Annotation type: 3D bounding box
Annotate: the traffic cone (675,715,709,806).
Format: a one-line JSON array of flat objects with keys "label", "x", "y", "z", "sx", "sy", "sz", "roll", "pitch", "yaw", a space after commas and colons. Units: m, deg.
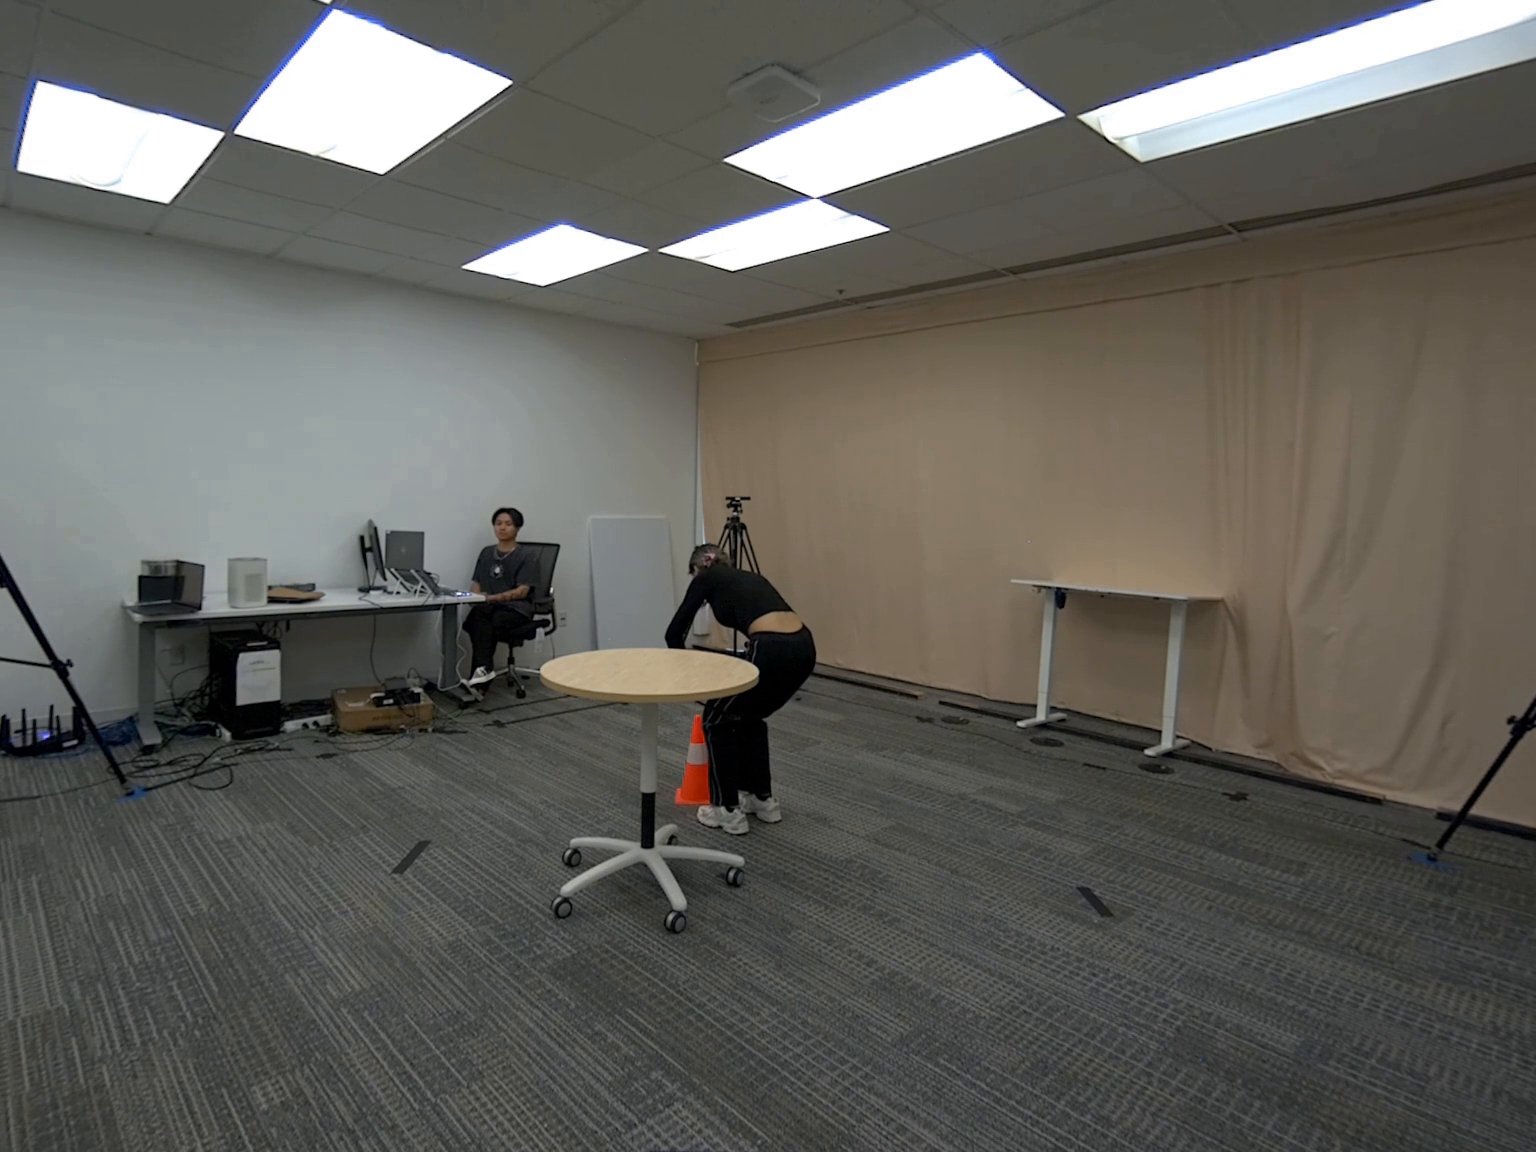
[{"label": "traffic cone", "x": -0.343, "y": 0.843, "z": 3.918, "sx": 0.203, "sy": 0.382, "sz": 0.206, "roll": 1, "pitch": 7, "yaw": 0}]
